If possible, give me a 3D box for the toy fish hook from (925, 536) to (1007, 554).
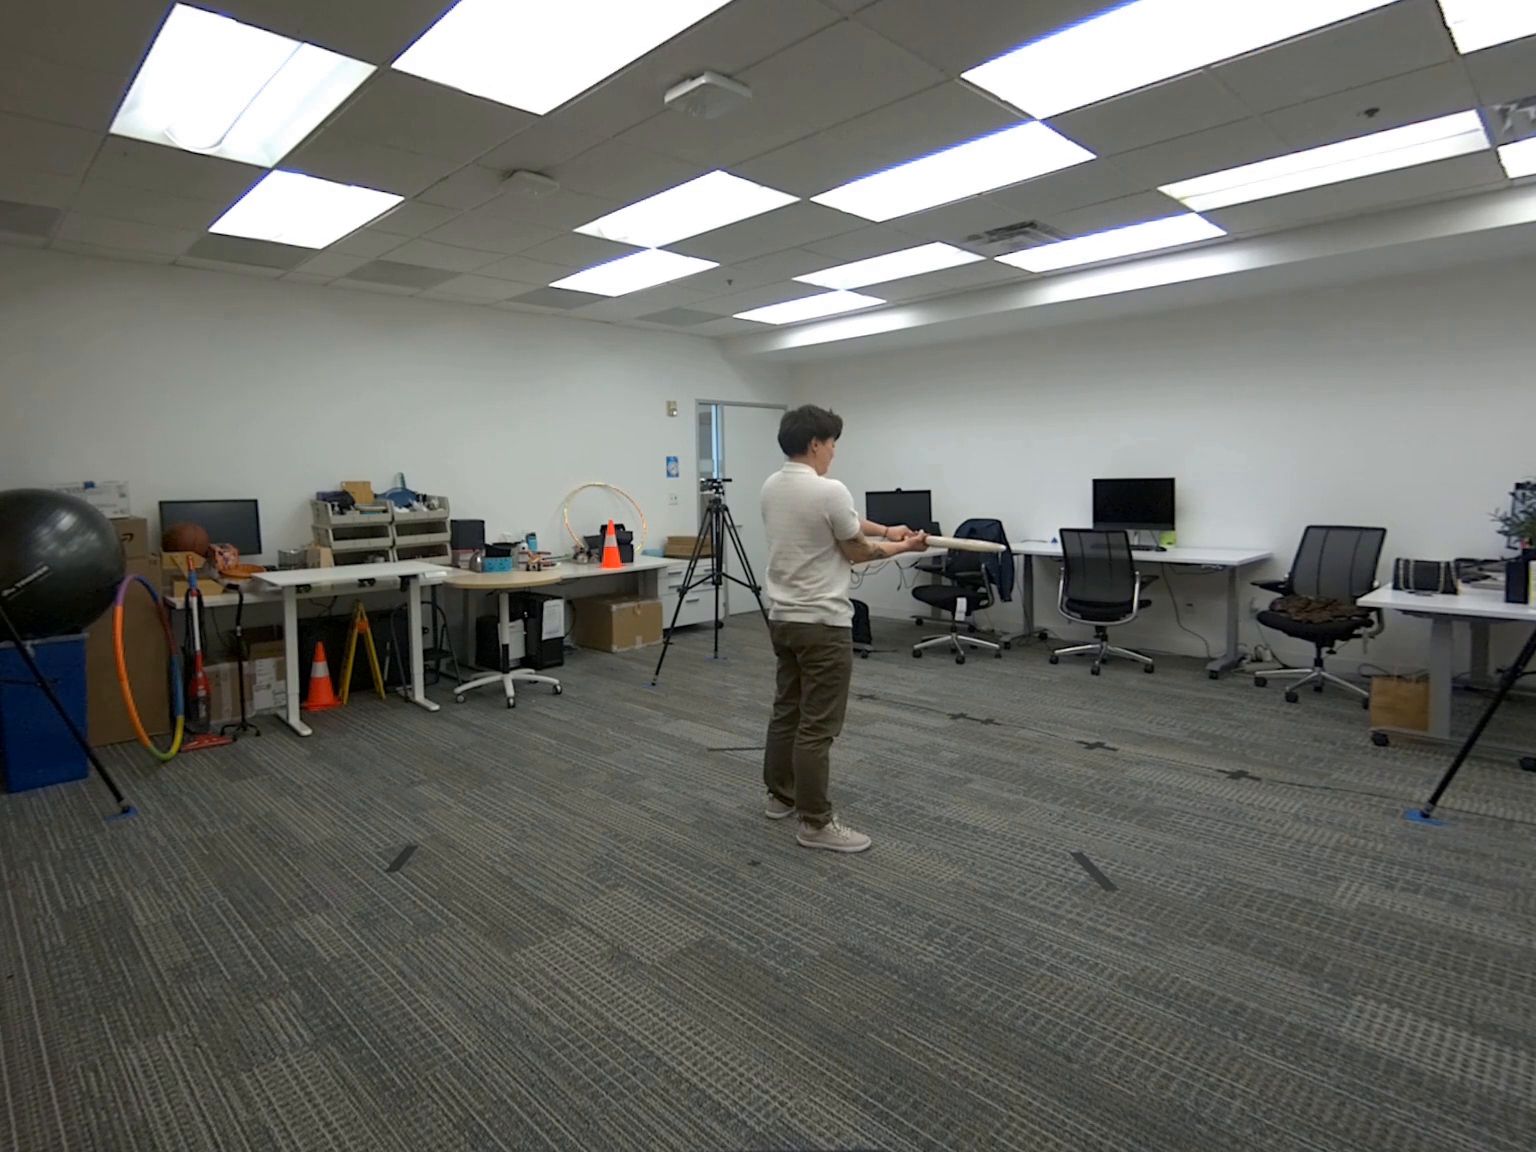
[{"bbox_3d":[0.707,-0.127,3.390,0.218,0.048,0.522,7,3,-34],"label":"toy fish hook"}]
